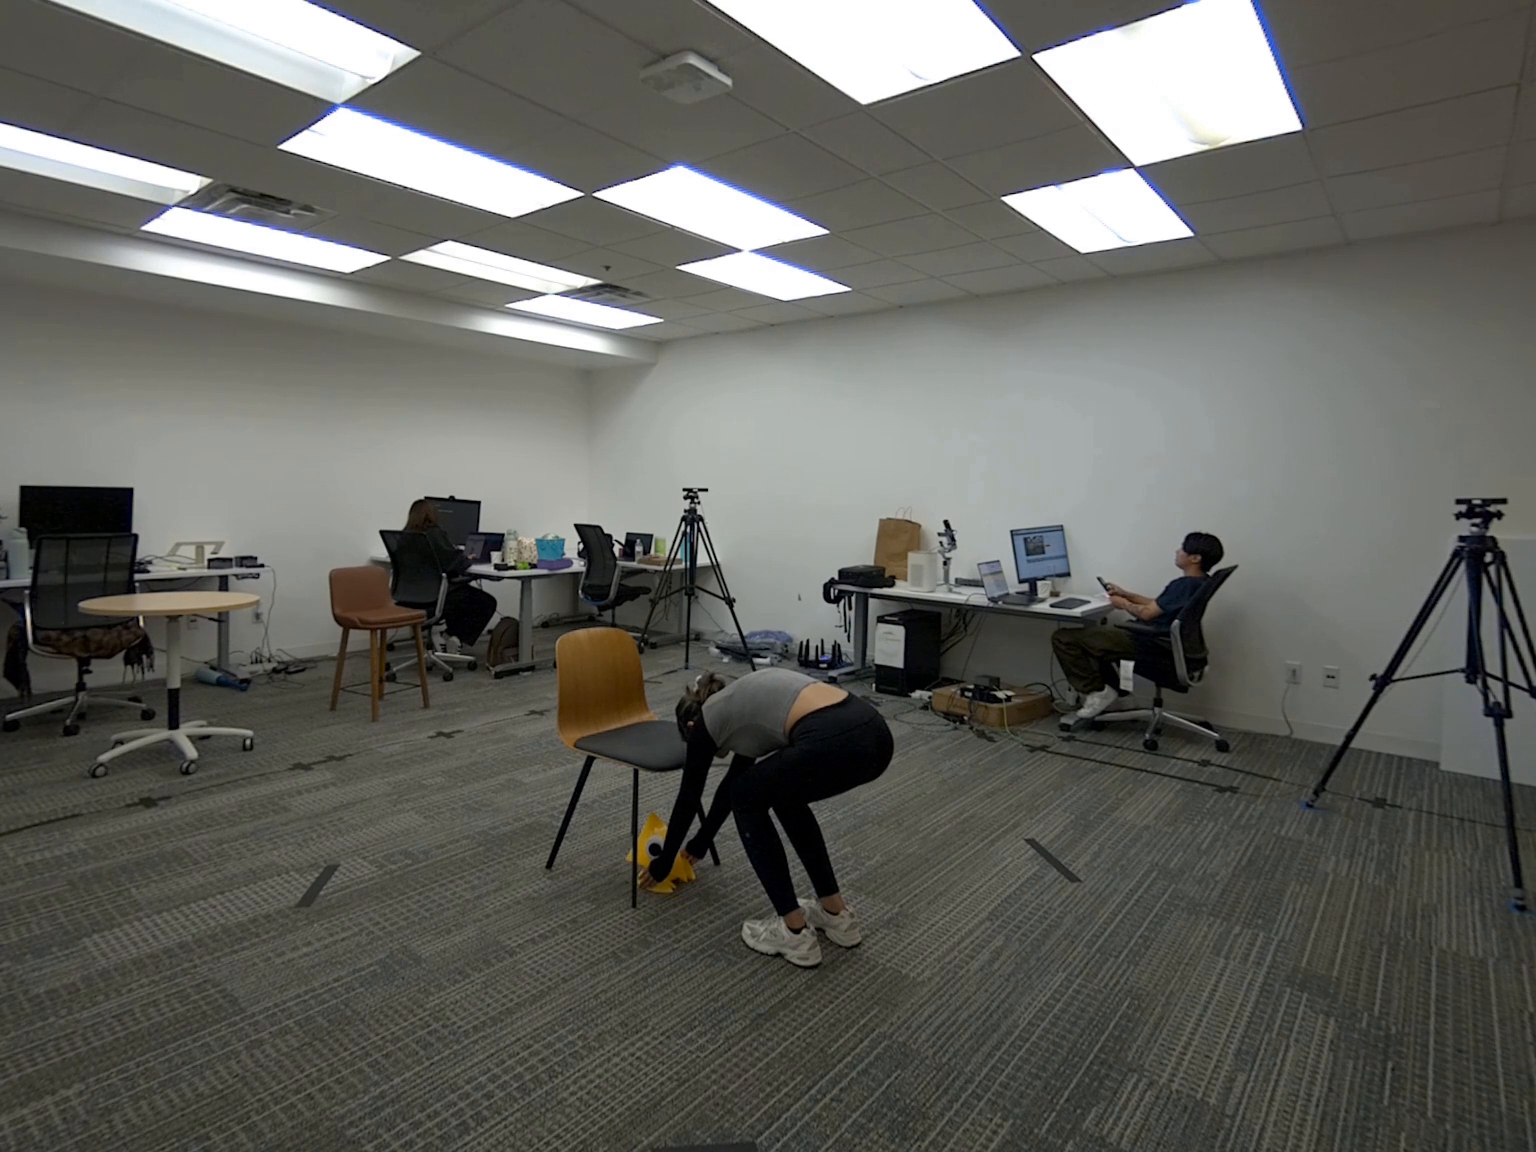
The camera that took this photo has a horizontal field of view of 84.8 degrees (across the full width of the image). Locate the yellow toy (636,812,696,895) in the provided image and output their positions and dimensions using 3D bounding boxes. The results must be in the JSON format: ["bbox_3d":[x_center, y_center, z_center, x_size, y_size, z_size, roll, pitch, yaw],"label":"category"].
[{"bbox_3d":[-0.375,0.967,3.019,0.199,0.230,0.199,2,4,36],"label":"yellow toy"}]
